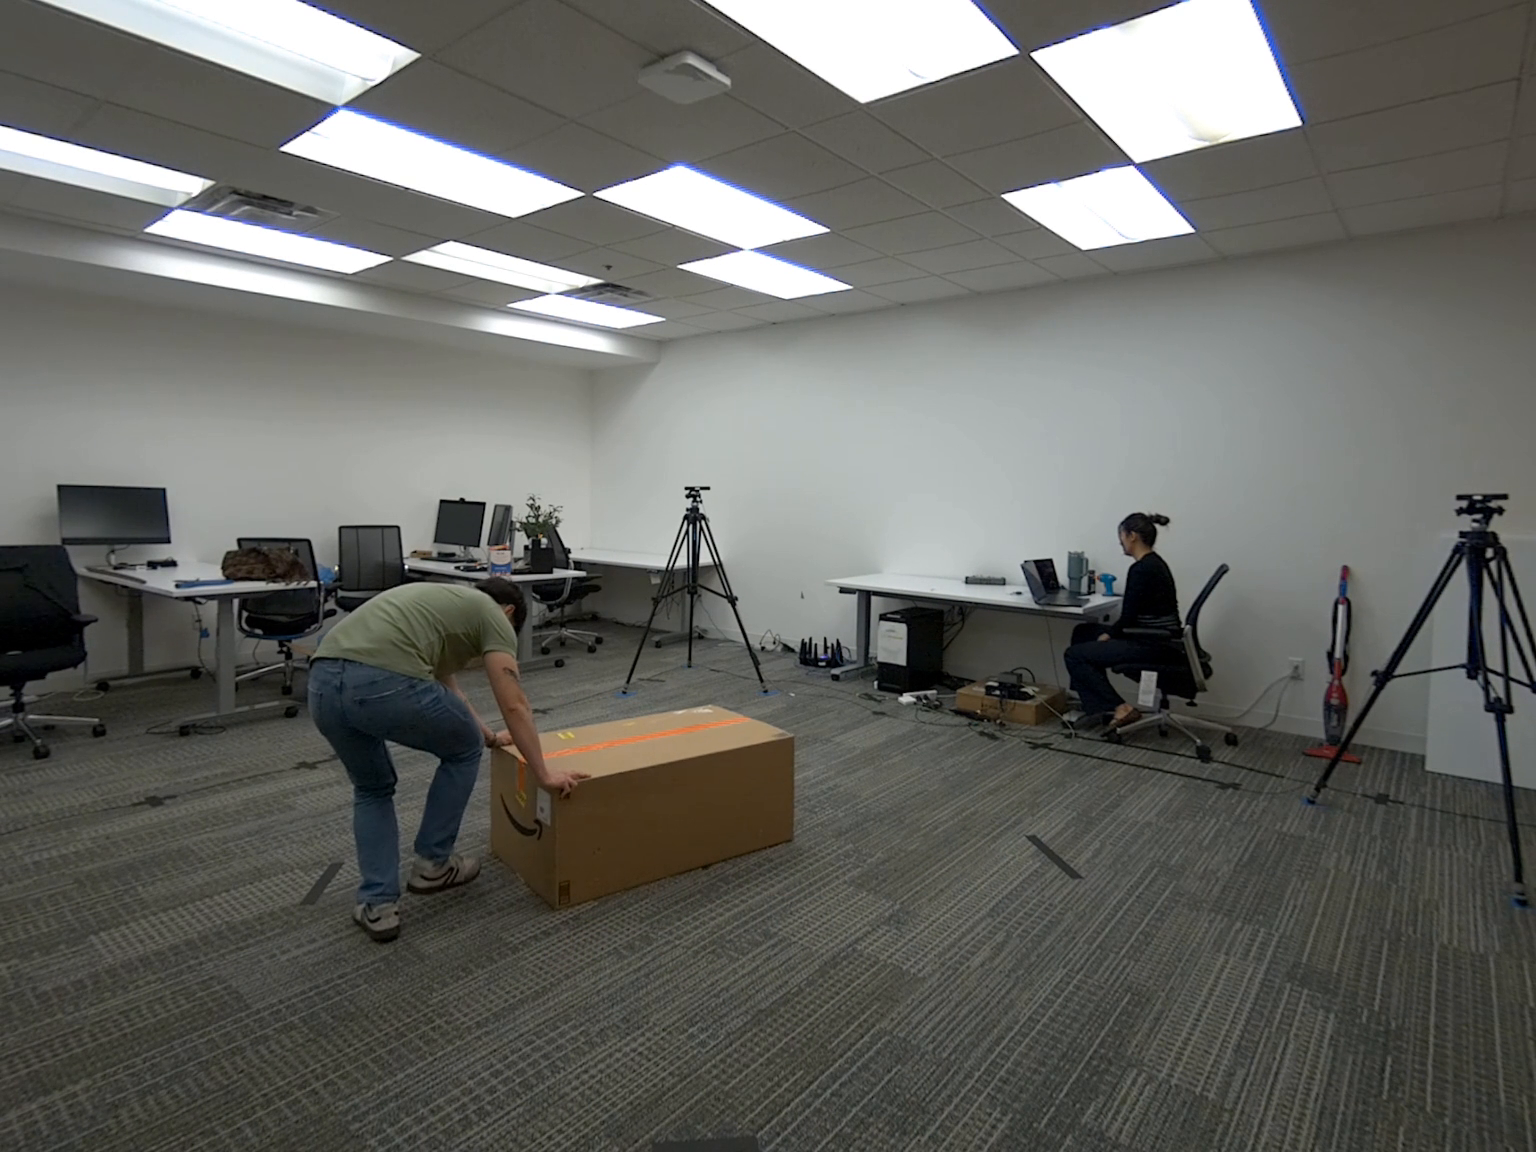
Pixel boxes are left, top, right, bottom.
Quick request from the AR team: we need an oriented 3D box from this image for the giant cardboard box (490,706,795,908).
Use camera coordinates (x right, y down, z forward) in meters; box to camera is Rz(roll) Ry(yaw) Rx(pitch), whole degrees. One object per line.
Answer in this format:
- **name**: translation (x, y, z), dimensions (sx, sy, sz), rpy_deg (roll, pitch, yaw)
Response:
- **giant cardboard box**: translation (-0.480, 0.832, 3.291), dimensions (0.996, 0.425, 0.596), rpy_deg (-4, 6, -37)
